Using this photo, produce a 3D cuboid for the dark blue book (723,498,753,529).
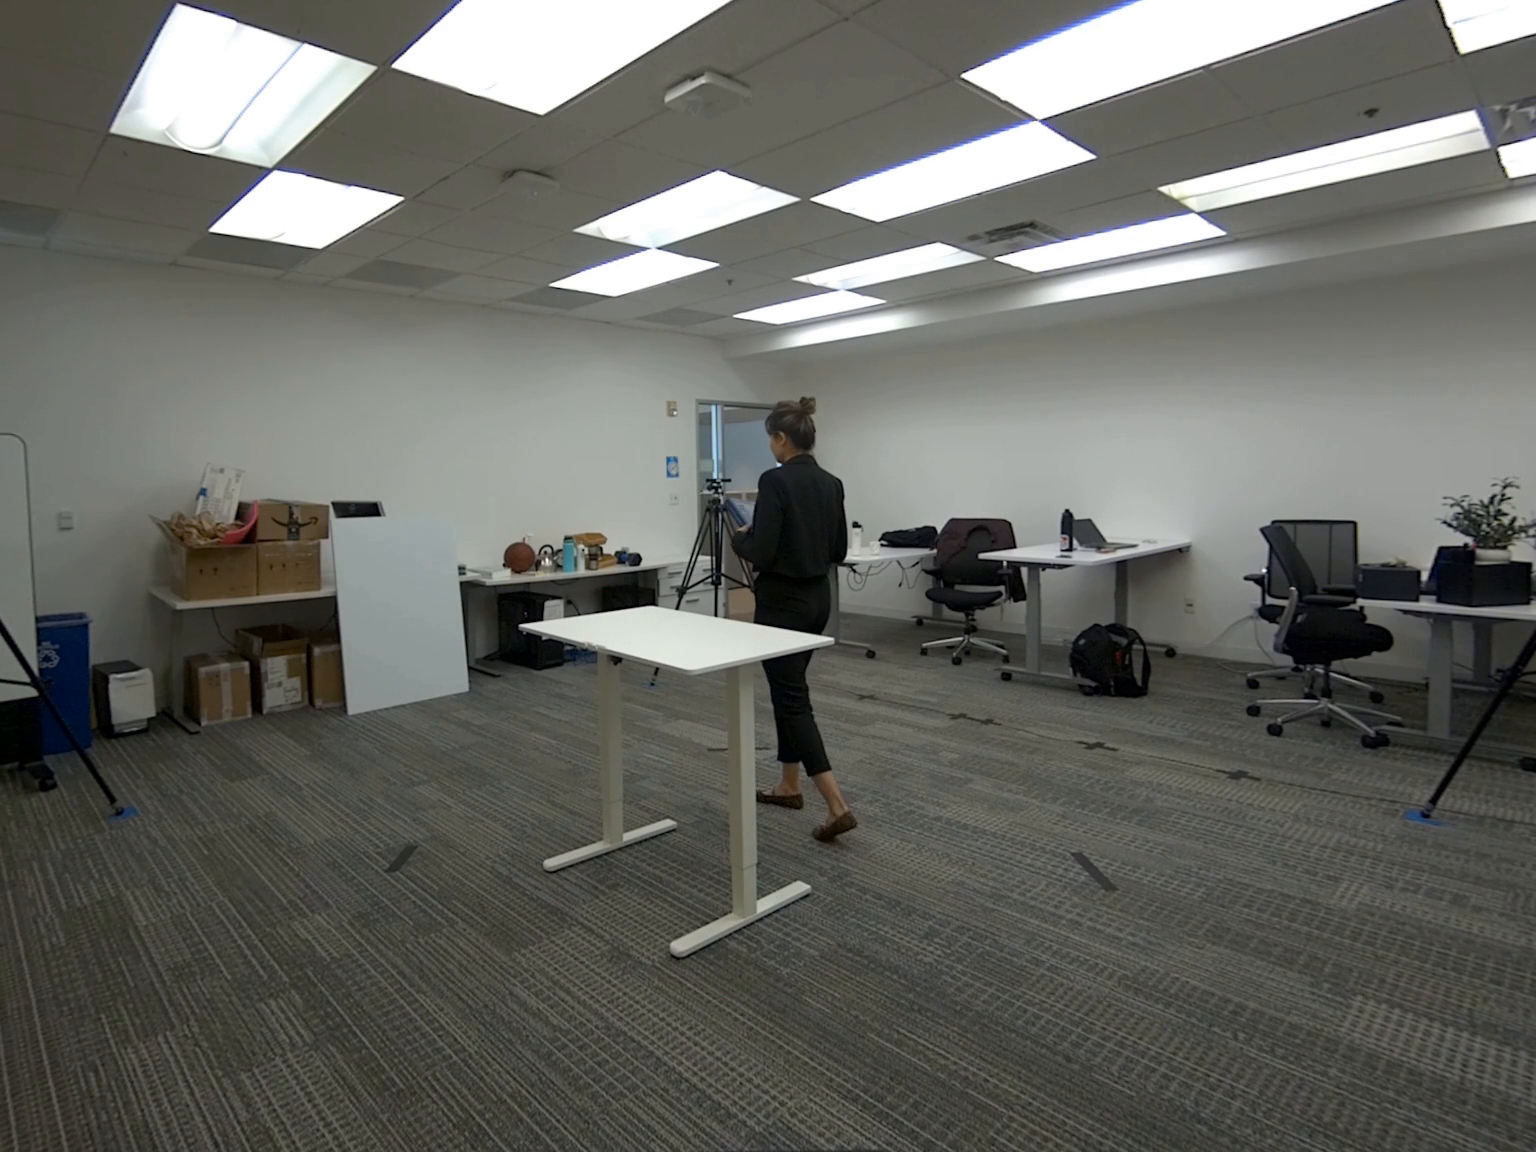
[{"bbox_3d":[-0.062,-0.247,3.673,0.158,0.045,0.255,5,34,-39],"label":"dark blue book"}]
